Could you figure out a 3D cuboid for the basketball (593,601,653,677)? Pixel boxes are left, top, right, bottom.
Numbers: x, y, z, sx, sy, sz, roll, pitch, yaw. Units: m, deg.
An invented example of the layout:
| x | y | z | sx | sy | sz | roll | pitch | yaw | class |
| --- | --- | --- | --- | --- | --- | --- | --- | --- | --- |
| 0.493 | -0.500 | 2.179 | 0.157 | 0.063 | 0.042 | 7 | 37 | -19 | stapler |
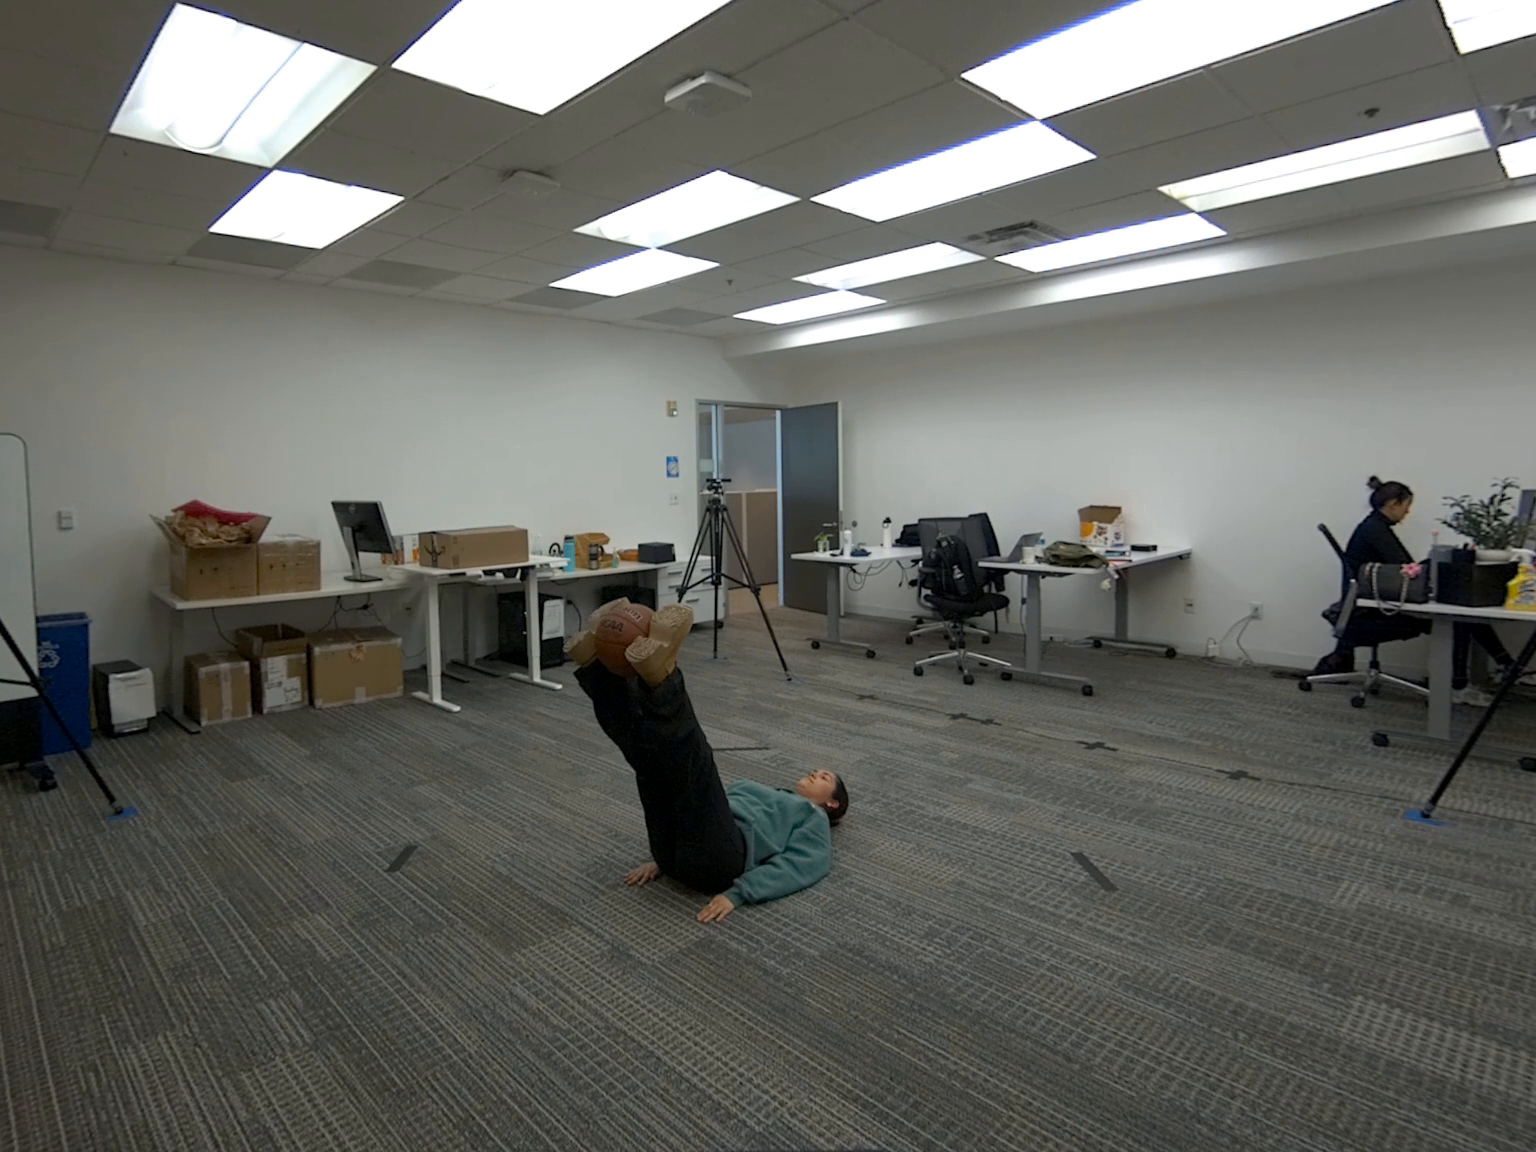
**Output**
| x | y | z | sx | sy | sz | roll | pitch | yaw | class |
| --- | --- | --- | --- | --- | --- | --- | --- | --- | --- |
| -0.451 | 0.210 | 2.750 | 0.236 | 0.235 | 0.237 | -1 | 4 | -2 | basketball |
